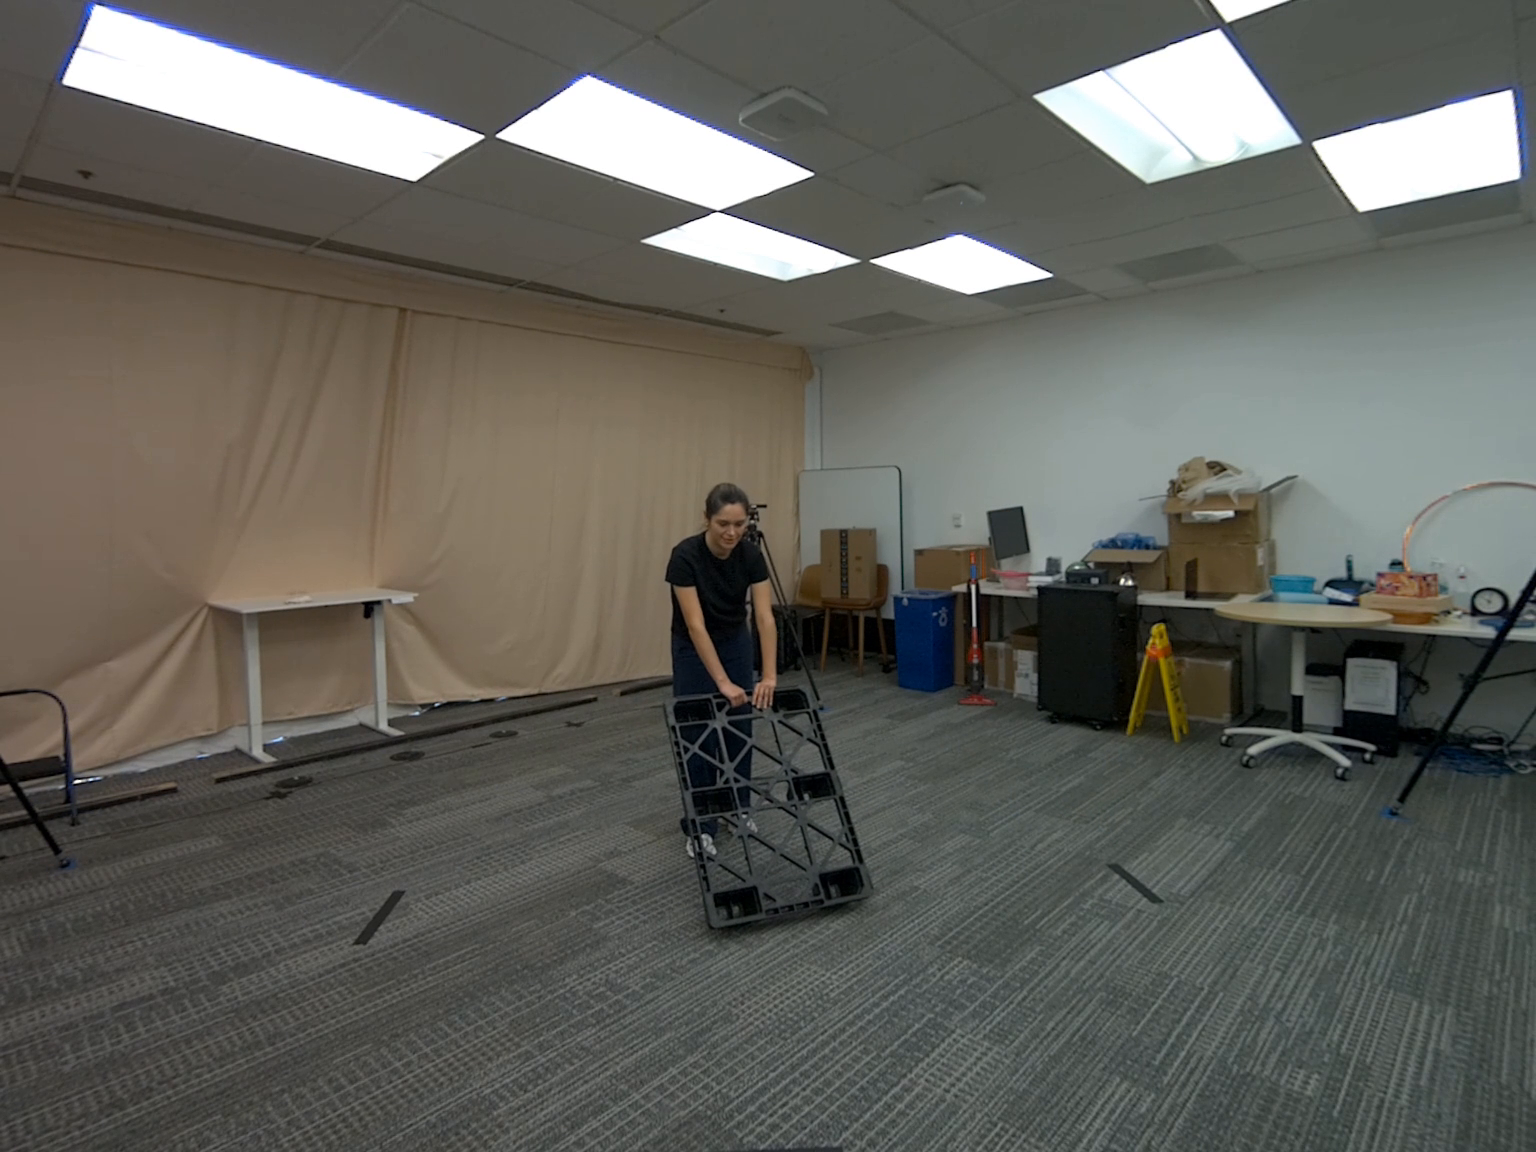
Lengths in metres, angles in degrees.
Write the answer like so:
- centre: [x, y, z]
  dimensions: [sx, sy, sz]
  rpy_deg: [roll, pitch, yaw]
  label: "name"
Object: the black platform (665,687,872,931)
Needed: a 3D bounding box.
- centre: [-0.010, 0.808, 3.030]
  dimensions: [0.593, 0.824, 0.143]
  rpy_deg: [-3, -33, -20]
  label: "black platform"
